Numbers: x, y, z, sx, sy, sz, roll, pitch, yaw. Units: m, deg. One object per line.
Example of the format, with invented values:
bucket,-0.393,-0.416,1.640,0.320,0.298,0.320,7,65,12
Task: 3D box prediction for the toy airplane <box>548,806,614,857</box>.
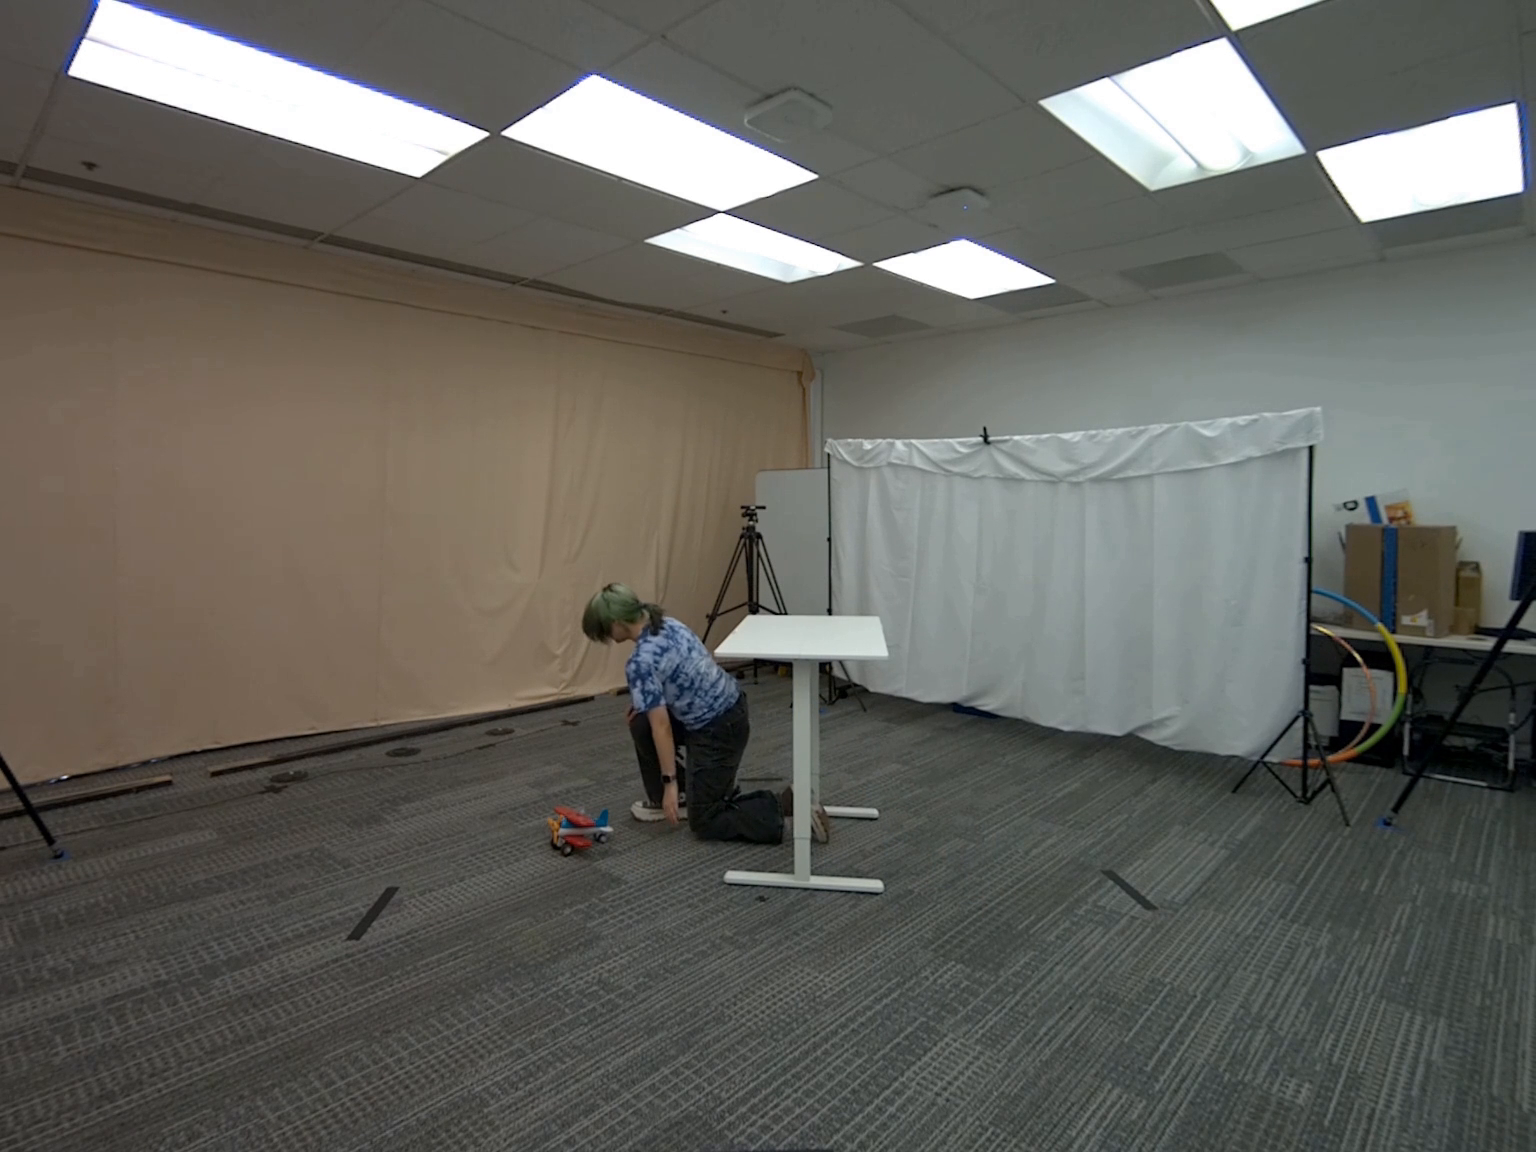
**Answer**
toy airplane,-0.784,1.038,3.469,0.257,0.156,0.254,1,6,22
